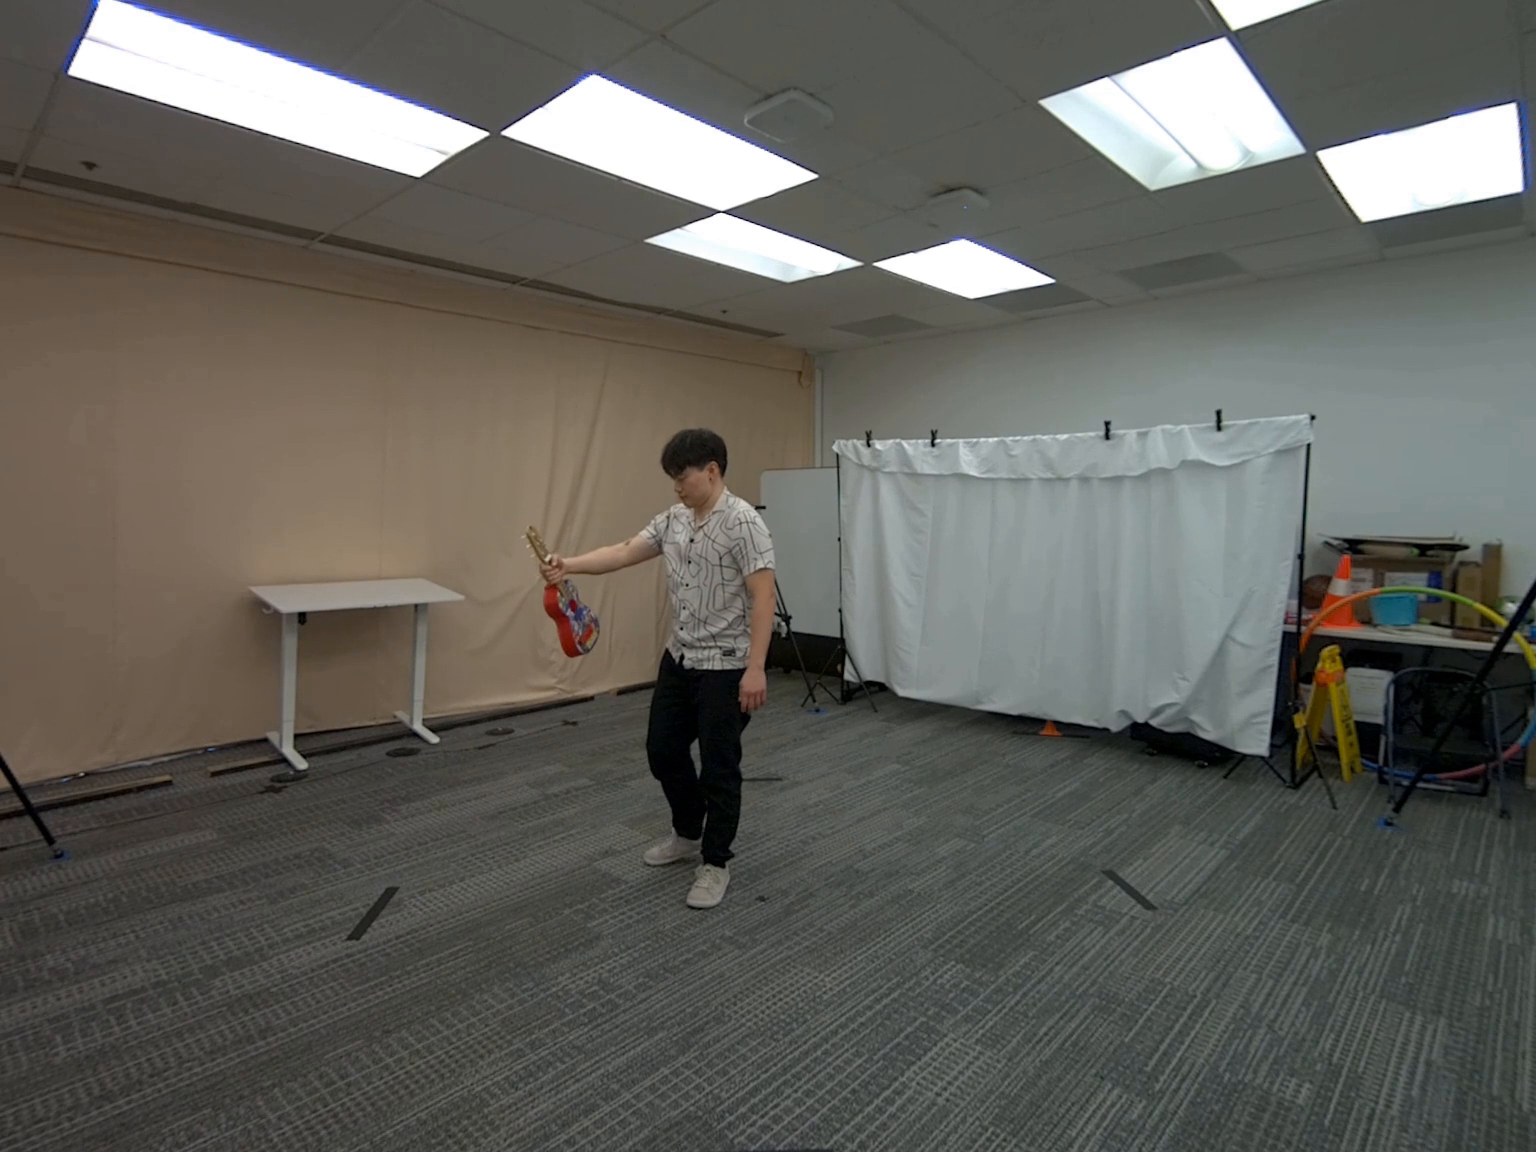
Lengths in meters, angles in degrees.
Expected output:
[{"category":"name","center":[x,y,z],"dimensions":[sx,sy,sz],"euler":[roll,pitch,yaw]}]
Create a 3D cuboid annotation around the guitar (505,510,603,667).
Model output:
[{"category":"guitar","center":[-0.729,0.040,2.914],"dimensions":[0.072,0.491,0.192],"euler":[-14,16,19]}]
